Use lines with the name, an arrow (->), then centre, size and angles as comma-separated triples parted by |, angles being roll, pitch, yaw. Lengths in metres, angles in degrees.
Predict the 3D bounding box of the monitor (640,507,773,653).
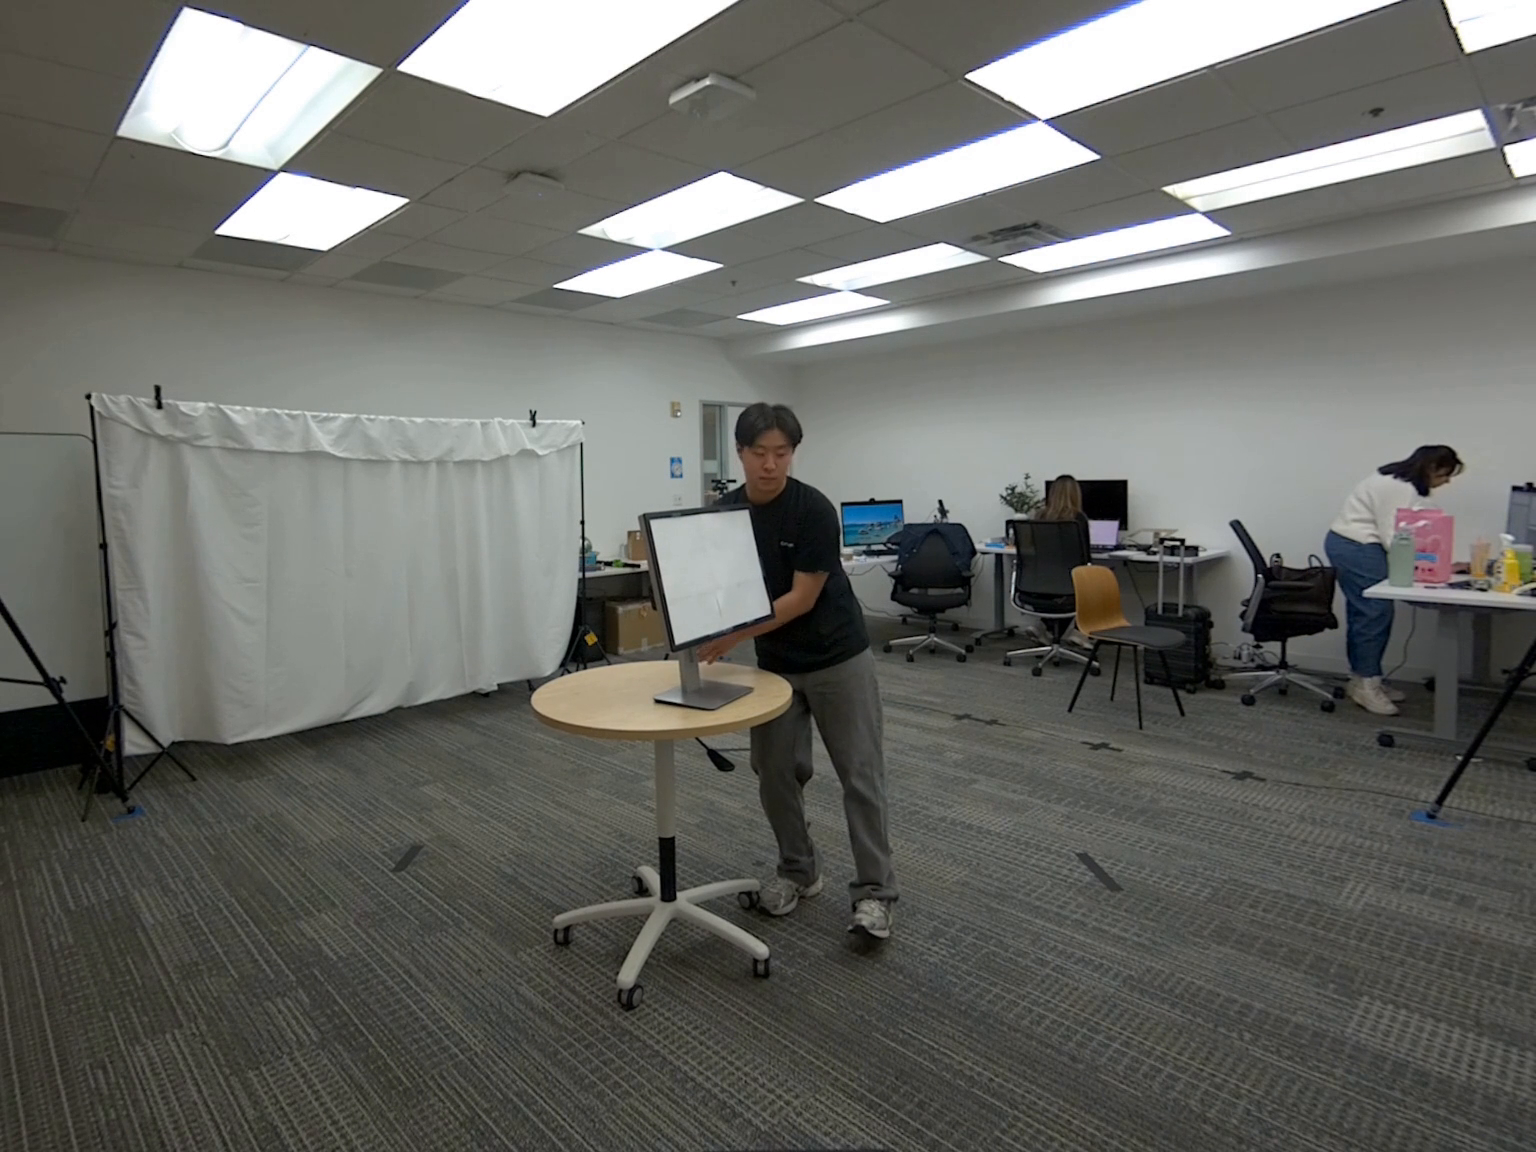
monitor -> -0.183, 0.089, 2.432 | 0.228, 0.563, 0.550 | 4, 8, 30
